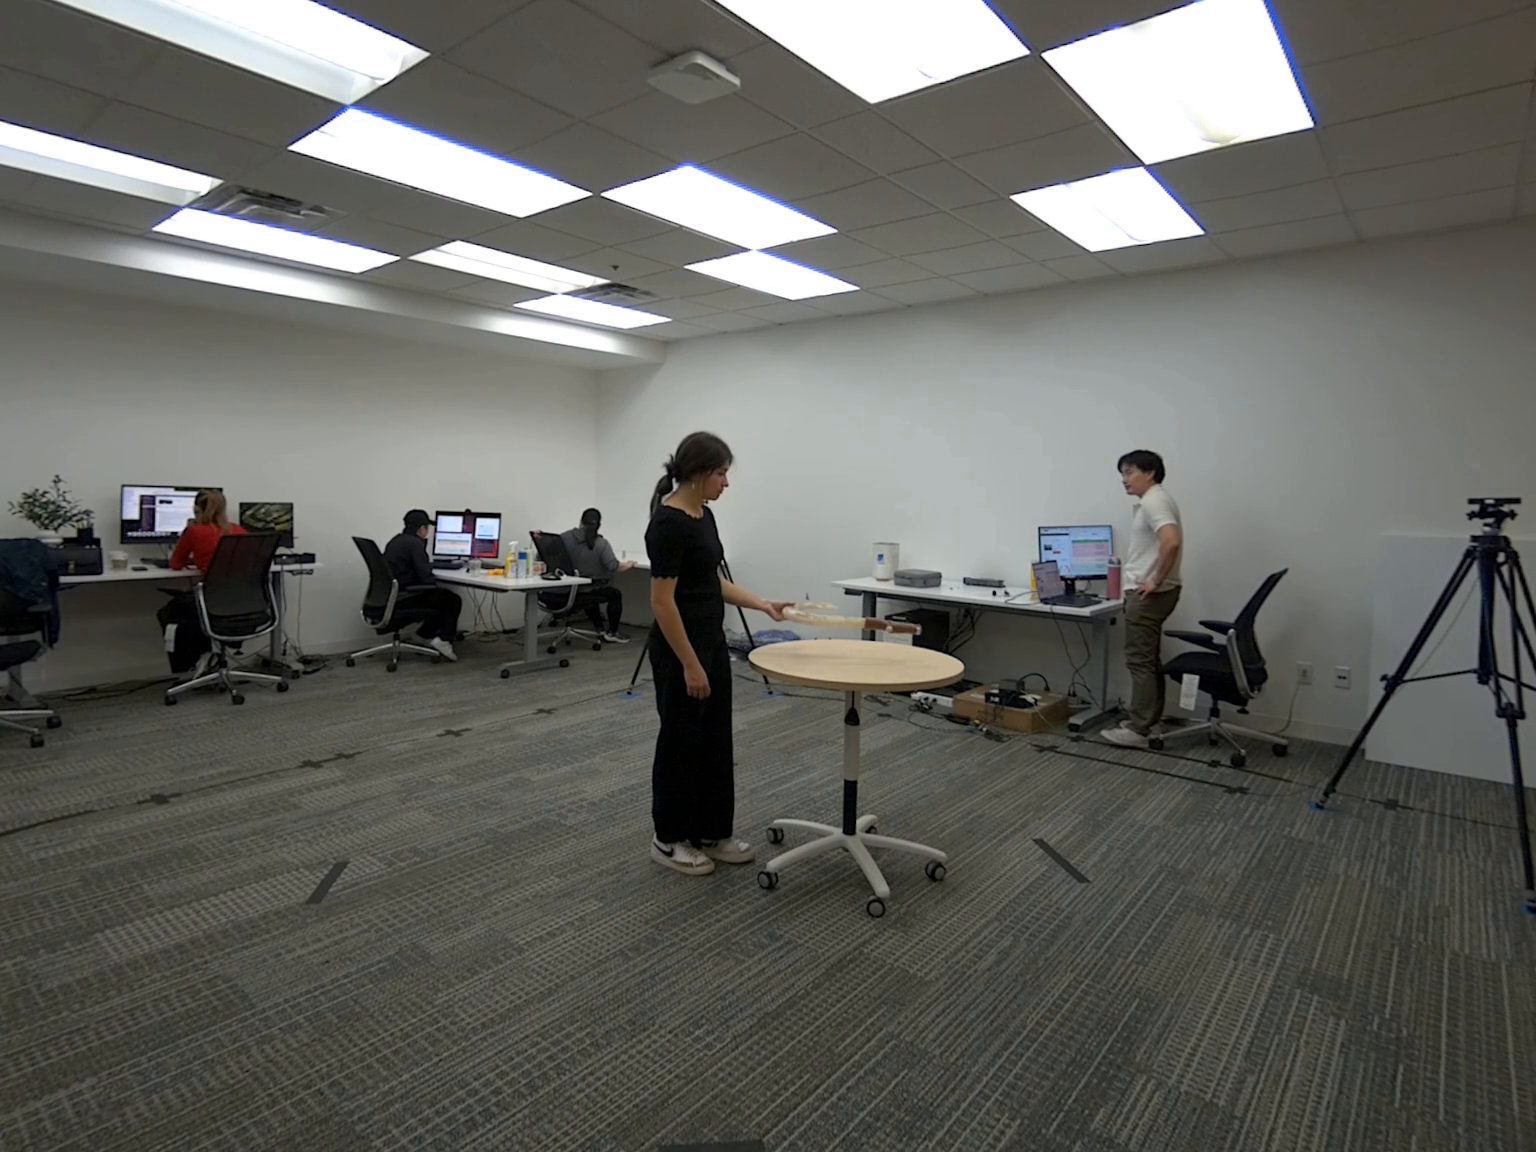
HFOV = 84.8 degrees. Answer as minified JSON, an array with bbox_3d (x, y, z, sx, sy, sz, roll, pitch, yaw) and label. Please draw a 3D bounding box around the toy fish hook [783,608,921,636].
[{"bbox_3d":[0.301,0.150,3.115,0.515,0.047,0.225,7,20,13],"label":"toy fish hook"}]
